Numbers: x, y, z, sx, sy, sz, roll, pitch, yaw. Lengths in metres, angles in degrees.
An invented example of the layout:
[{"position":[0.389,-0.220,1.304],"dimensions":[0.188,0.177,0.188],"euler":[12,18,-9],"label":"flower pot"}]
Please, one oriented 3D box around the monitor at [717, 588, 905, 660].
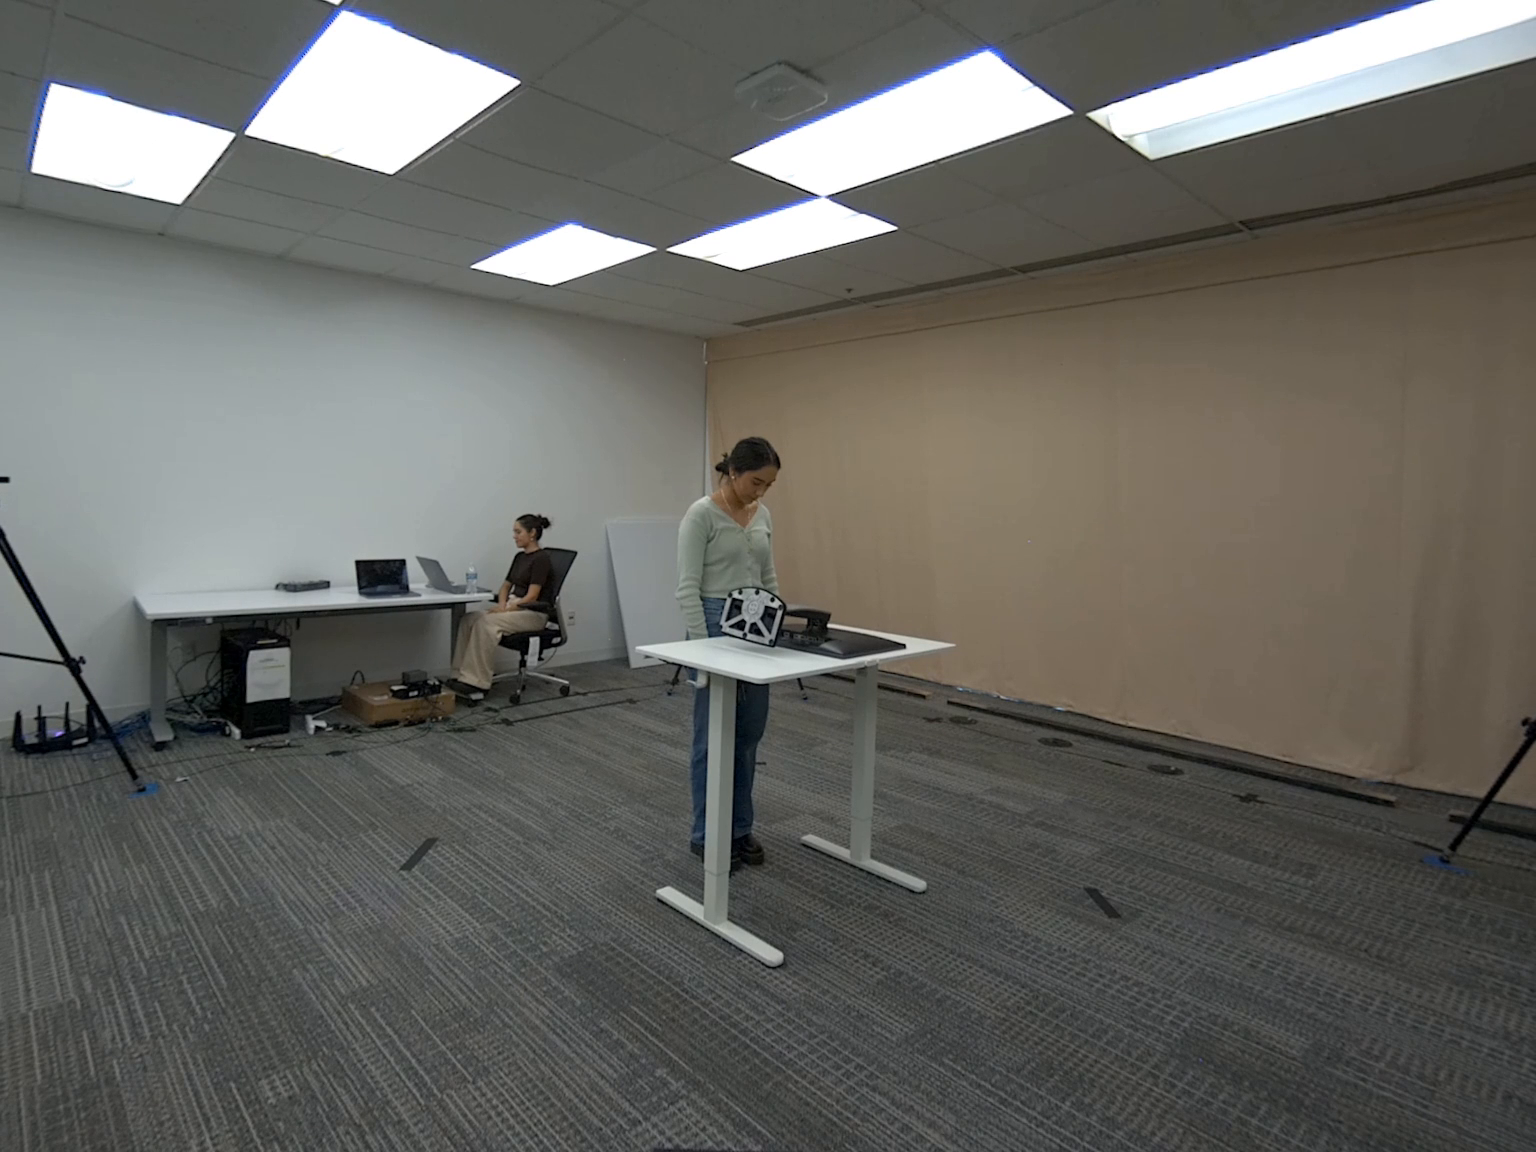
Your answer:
[{"position":[0.108,0.182,2.947],"dimensions":[0.507,0.187,0.554],"euler":[17,-4,-44],"label":"monitor"}]
